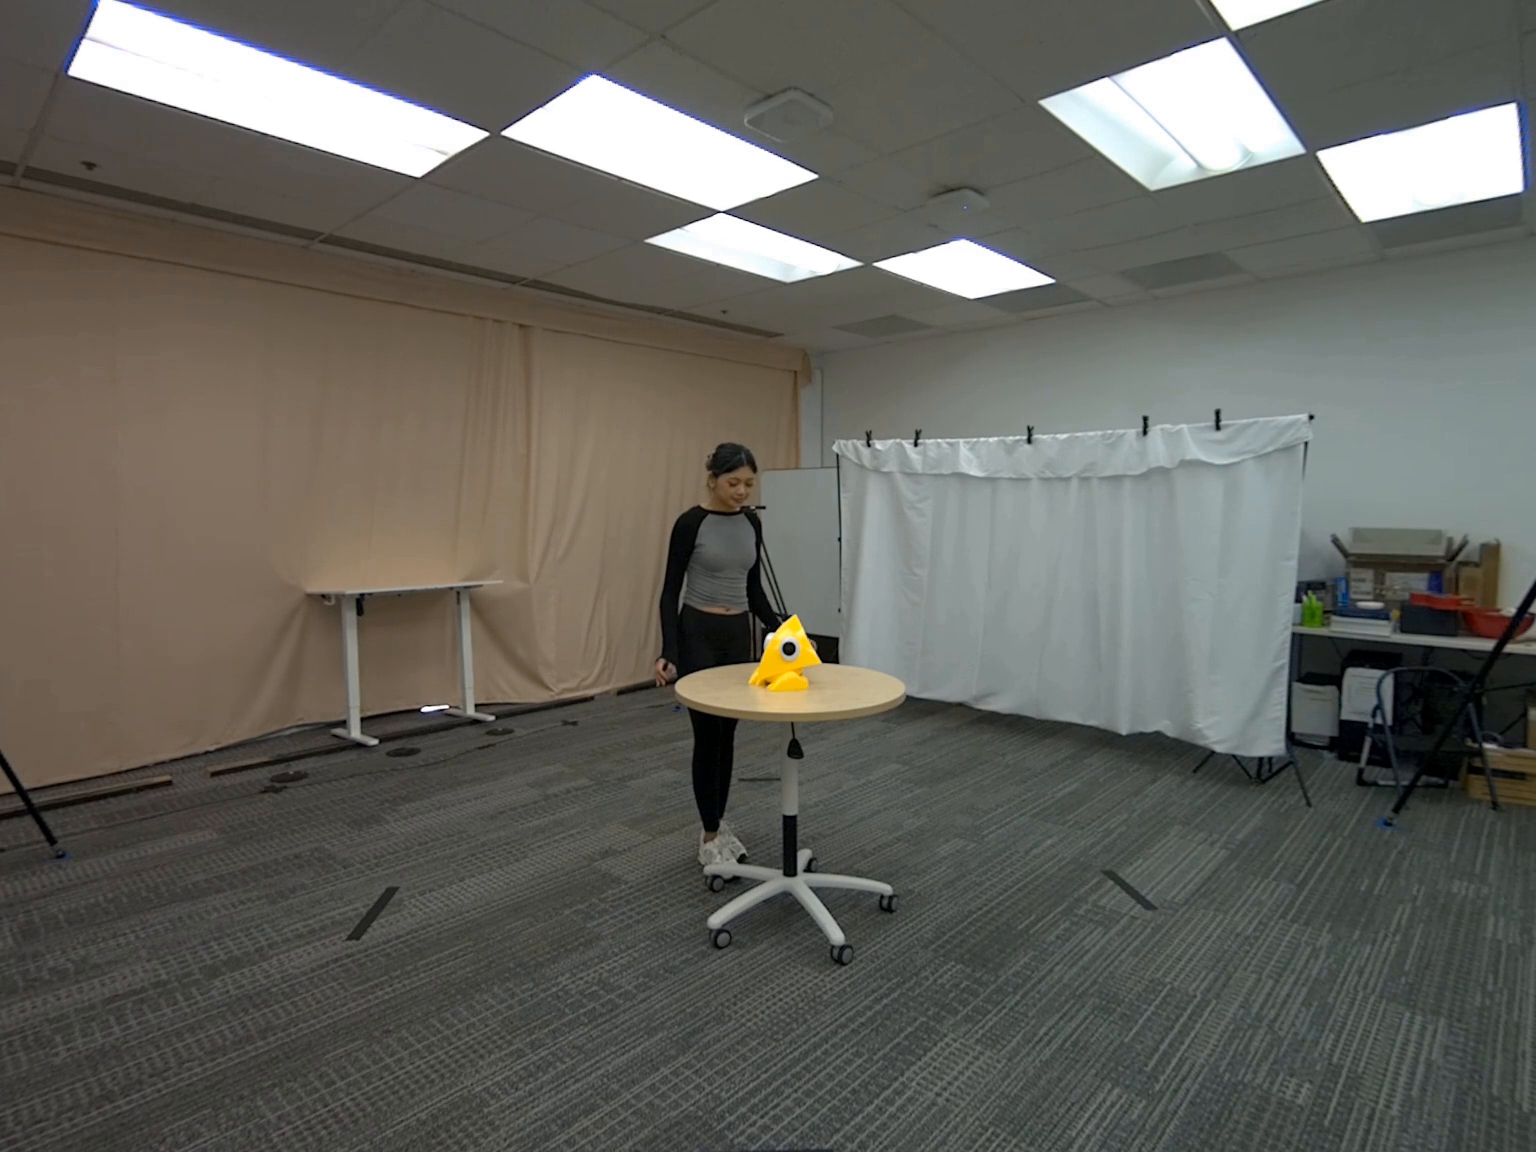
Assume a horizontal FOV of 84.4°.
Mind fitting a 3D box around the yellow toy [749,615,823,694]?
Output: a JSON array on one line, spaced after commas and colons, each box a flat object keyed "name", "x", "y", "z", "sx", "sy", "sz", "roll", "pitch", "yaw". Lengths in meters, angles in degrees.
[{"name": "yellow toy", "x": 0.051, "y": 0.250, "z": 2.815, "sx": 0.188, "sy": 0.230, "sz": 0.211, "roll": -3, "pitch": 5, "yaw": -32}]
